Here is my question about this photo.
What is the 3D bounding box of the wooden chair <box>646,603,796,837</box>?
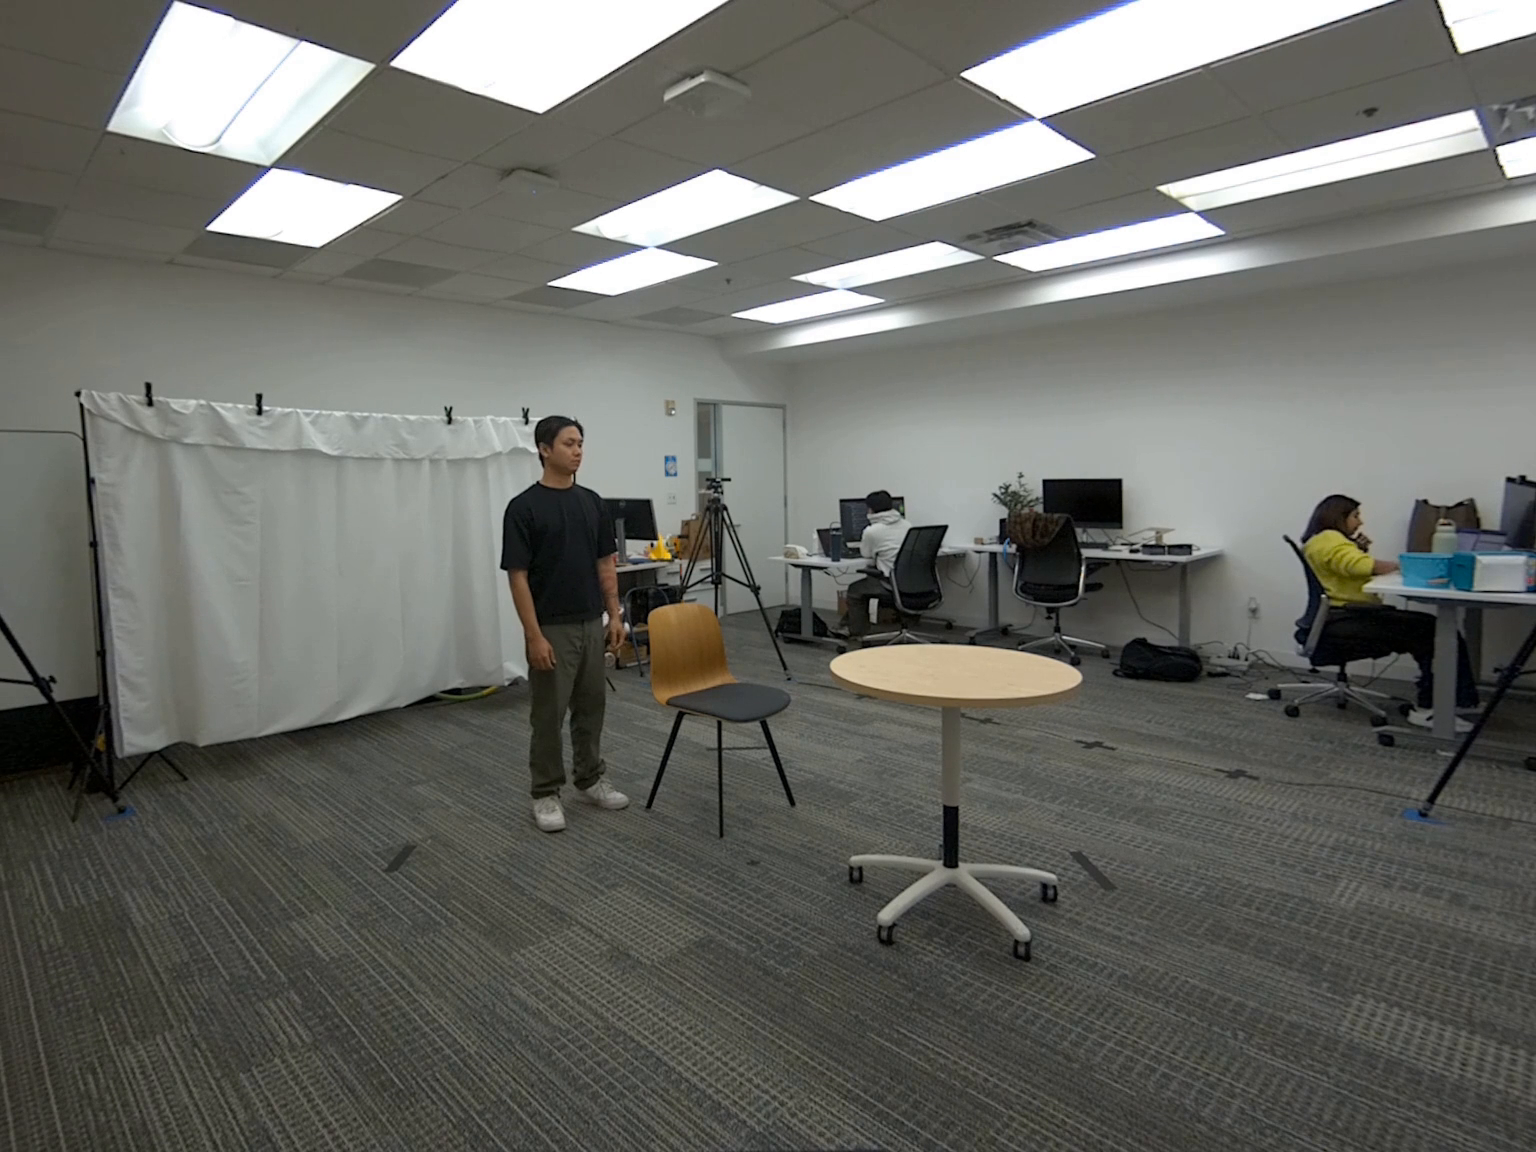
[{"bbox_3d":[-0.205,0.558,3.598,0.537,0.877,0.465,-3,1,44],"label":"wooden chair"}]
